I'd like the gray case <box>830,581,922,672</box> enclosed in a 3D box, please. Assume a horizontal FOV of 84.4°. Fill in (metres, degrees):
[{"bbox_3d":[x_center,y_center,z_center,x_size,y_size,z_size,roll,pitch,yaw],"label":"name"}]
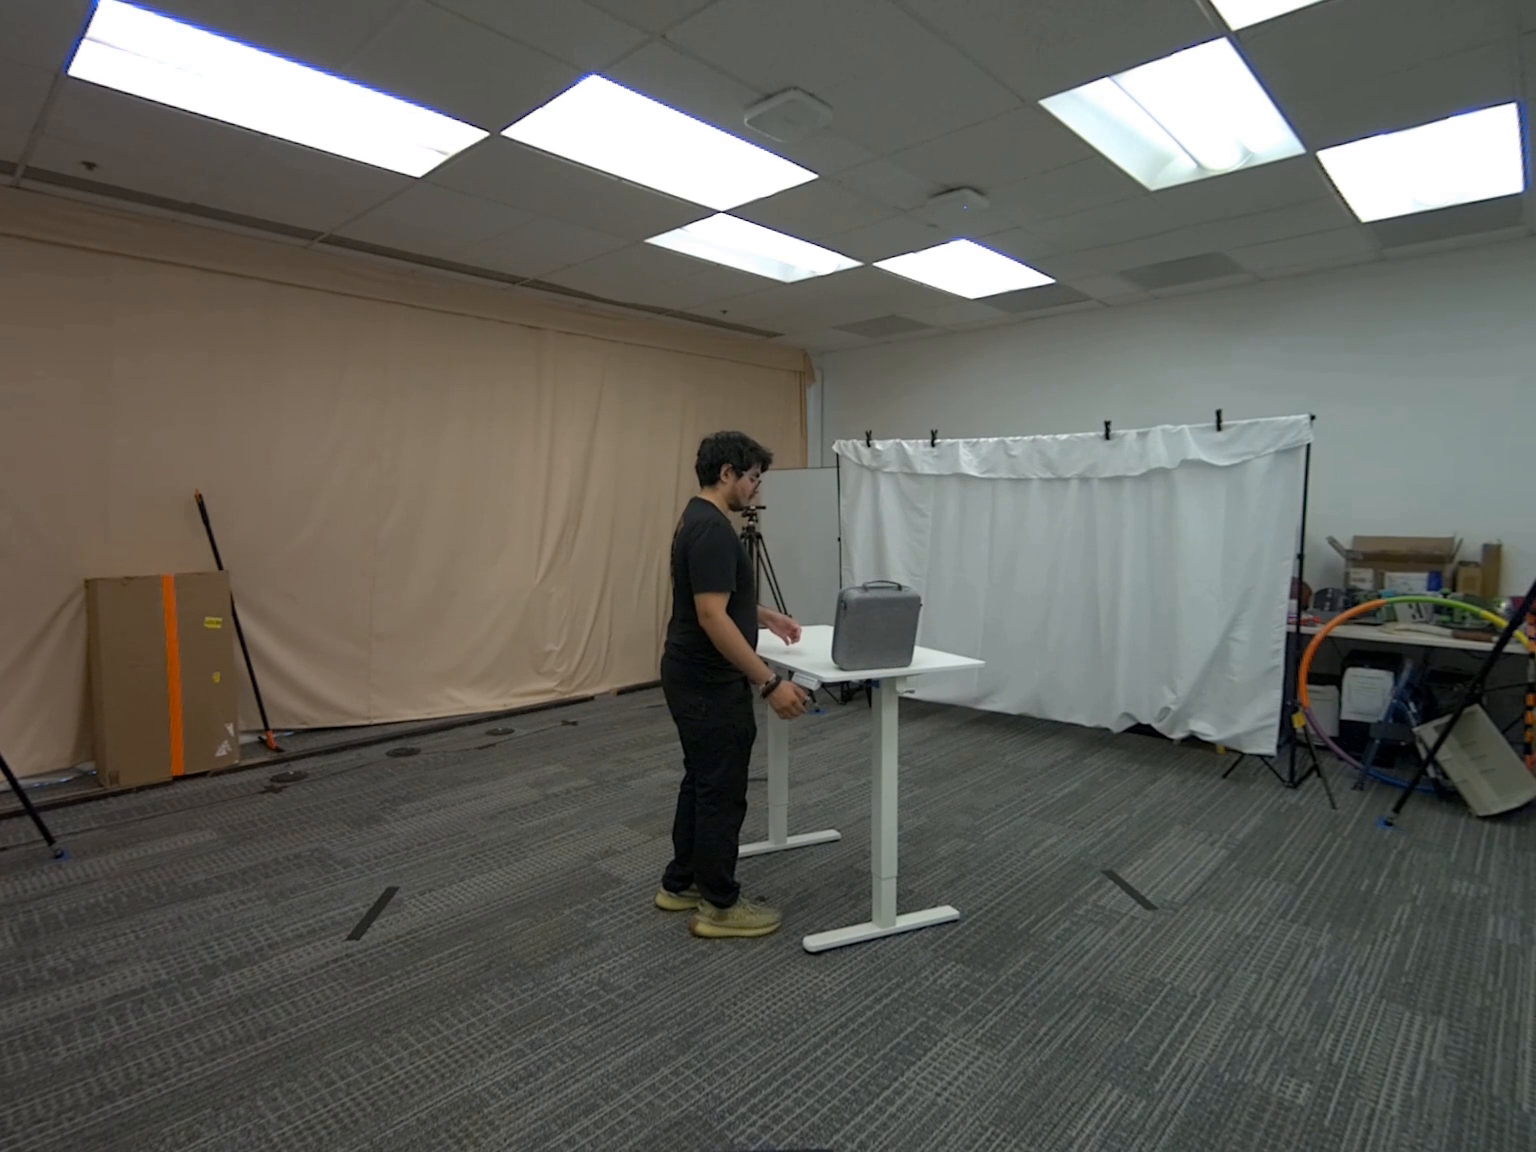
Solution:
[{"bbox_3d":[0.336,0.164,2.589,0.252,0.259,0.107,0,12,-20],"label":"gray case"}]
